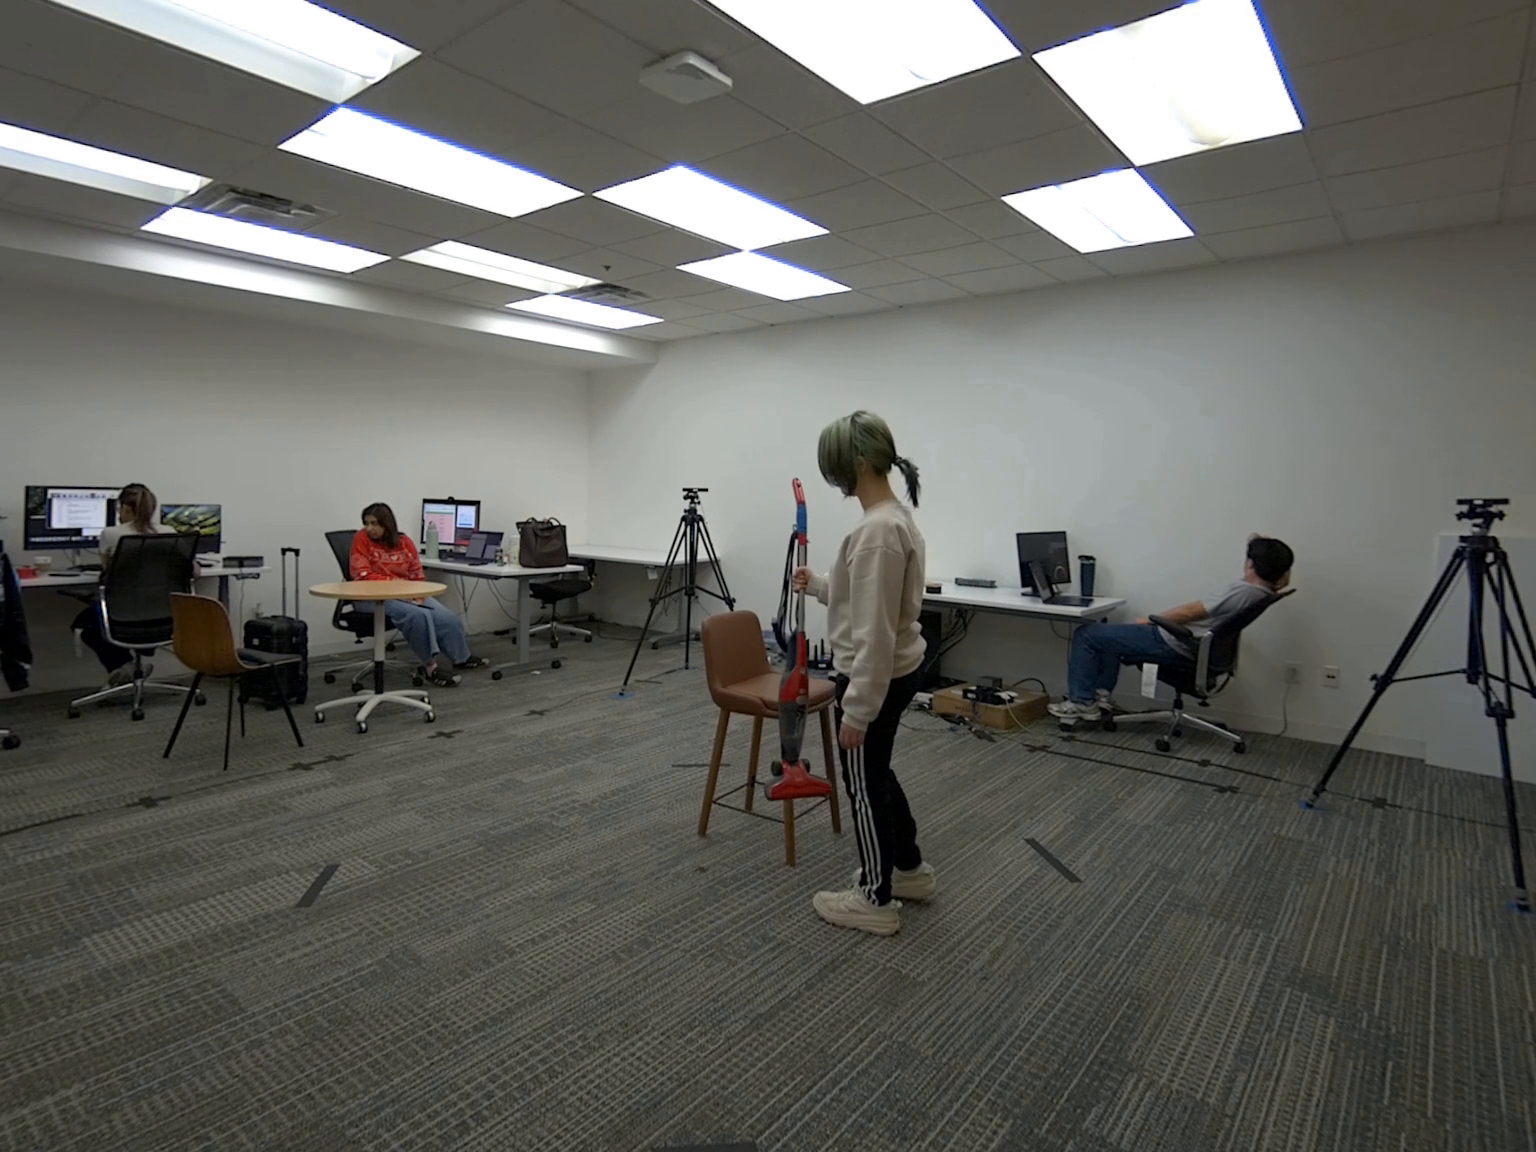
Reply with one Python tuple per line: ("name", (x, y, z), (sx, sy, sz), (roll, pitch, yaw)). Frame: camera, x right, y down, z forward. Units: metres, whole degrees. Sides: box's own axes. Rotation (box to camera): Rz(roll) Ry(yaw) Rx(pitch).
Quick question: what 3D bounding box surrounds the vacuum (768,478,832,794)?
("vacuum", (0.090, 0.184, 2.992), (0.246, 1.053, 0.147), (0, -4, -25))
